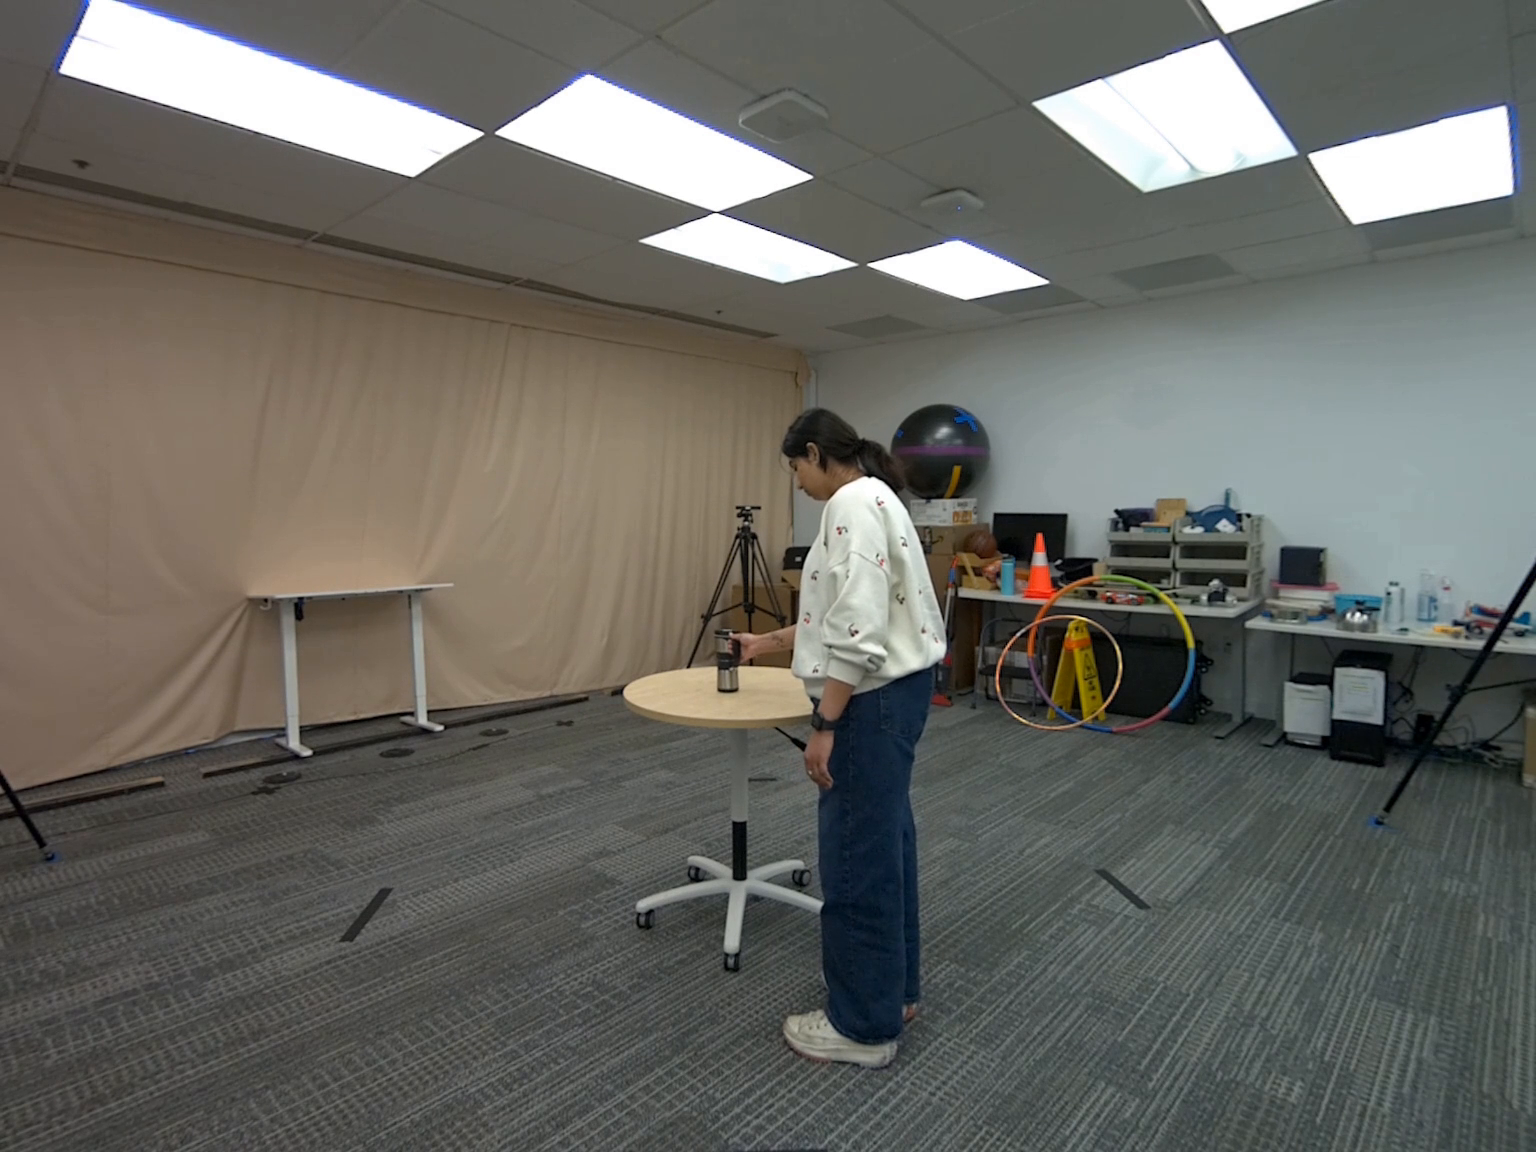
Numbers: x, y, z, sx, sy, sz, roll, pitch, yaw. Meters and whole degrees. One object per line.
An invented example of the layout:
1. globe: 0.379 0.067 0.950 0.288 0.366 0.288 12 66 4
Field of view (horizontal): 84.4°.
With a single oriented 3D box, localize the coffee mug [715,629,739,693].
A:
1. coffee mug: -0.131 0.282 2.753 0.088 0.203 0.121 0 1 3
